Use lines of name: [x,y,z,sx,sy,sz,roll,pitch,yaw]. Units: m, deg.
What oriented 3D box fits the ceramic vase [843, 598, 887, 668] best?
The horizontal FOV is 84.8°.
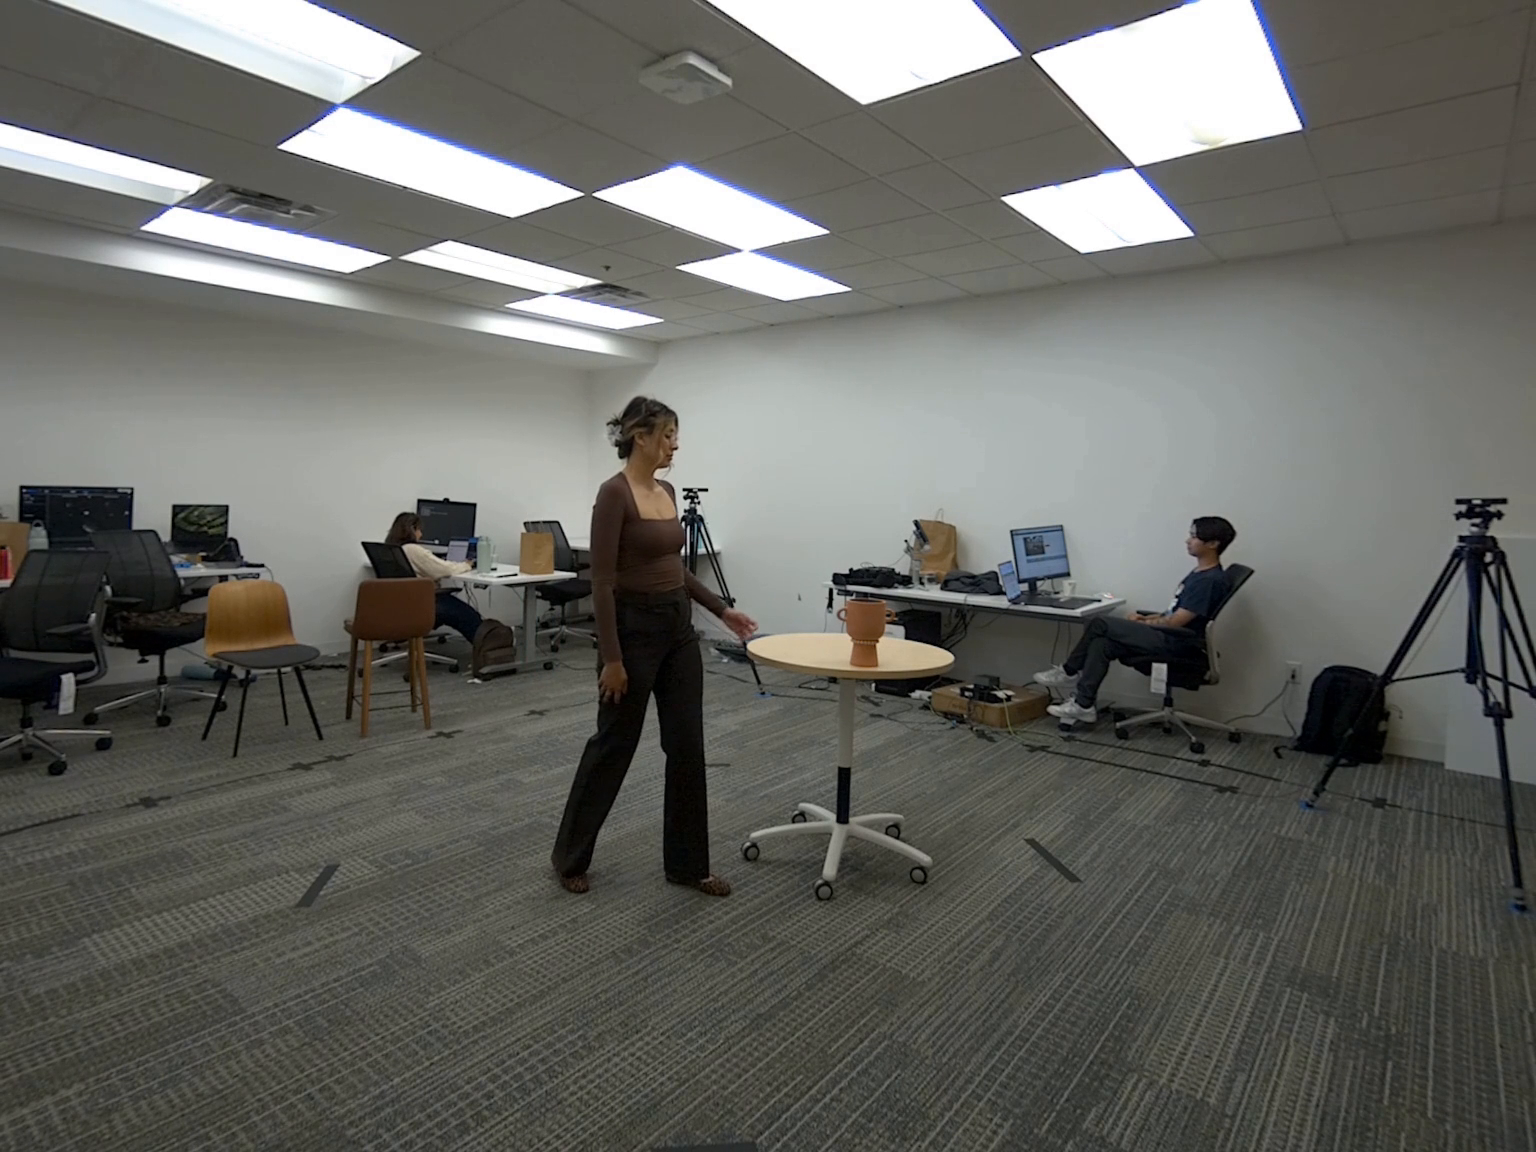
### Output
ceramic vase: [0.326,0.193,2.911,0.164,0.219,0.131,4,4,37]
